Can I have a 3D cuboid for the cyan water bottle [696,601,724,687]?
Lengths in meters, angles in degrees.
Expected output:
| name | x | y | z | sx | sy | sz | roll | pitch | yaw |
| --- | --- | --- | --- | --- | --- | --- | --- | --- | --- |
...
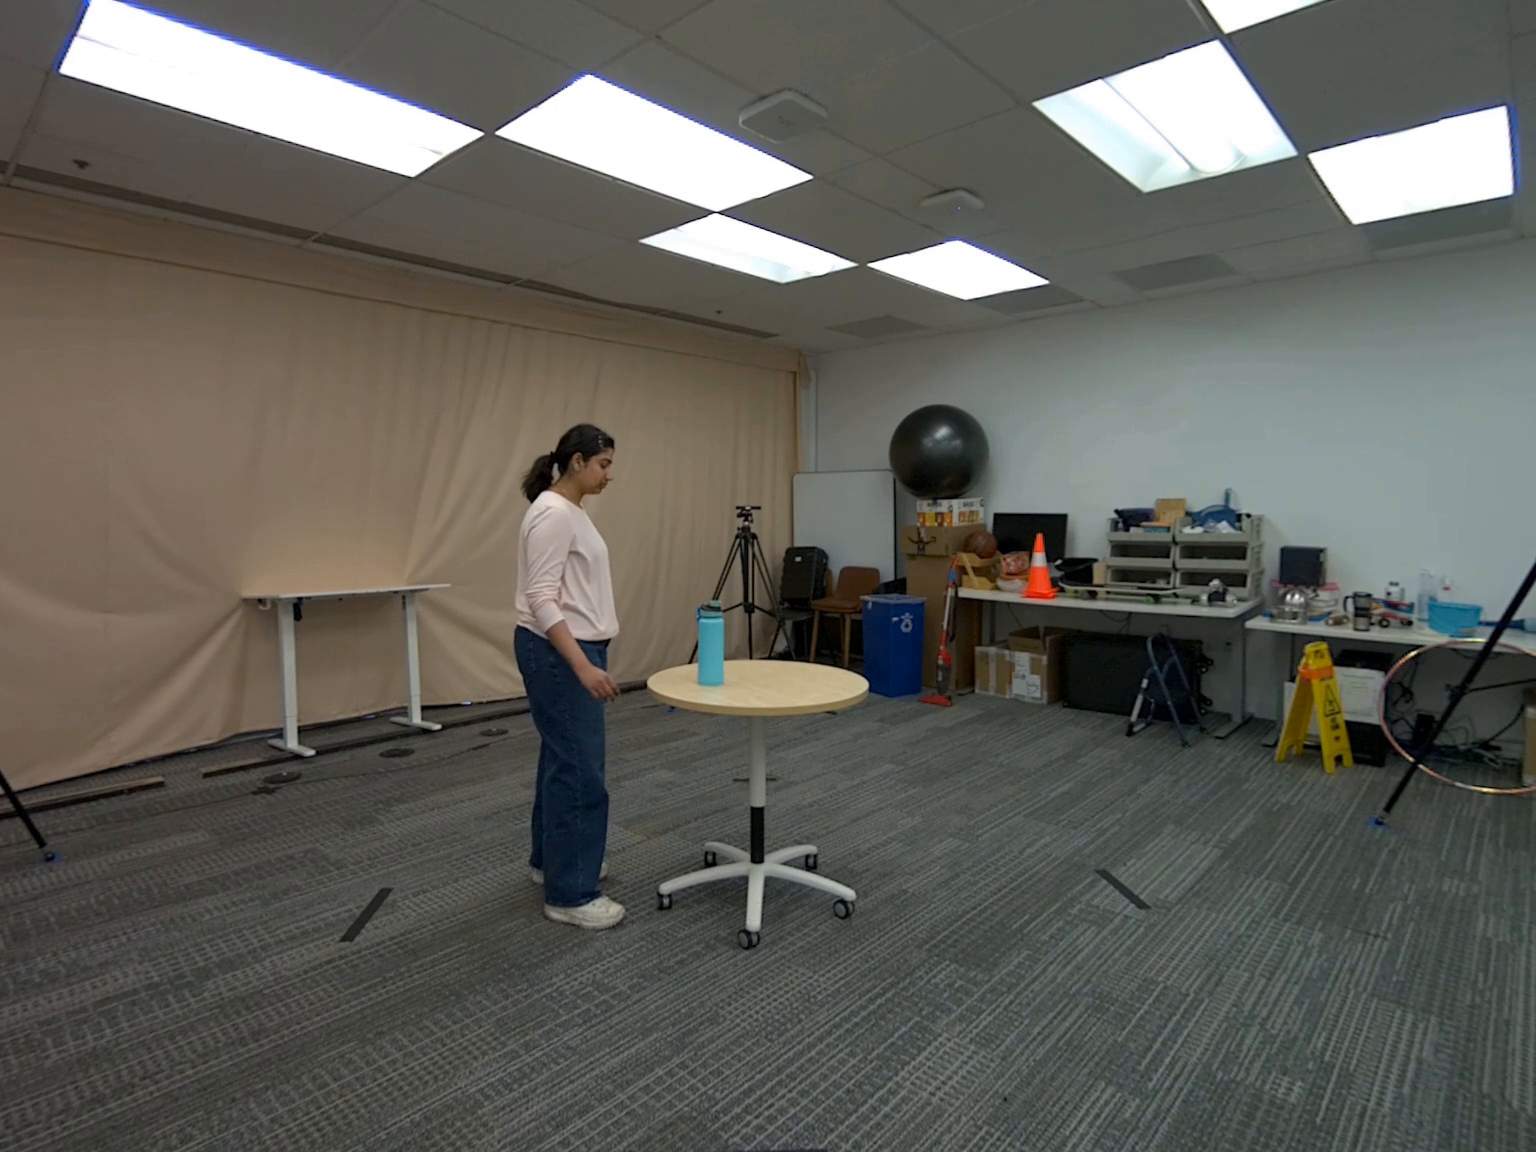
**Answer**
| name | x | y | z | sx | sy | sz | roll | pitch | yaw |
| --- | --- | --- | --- | --- | --- | --- | --- | --- | --- |
| cyan water bottle | -0.199 | 0.231 | 2.870 | 0.092 | 0.282 | 0.093 | -2 | 4 | -2 |
